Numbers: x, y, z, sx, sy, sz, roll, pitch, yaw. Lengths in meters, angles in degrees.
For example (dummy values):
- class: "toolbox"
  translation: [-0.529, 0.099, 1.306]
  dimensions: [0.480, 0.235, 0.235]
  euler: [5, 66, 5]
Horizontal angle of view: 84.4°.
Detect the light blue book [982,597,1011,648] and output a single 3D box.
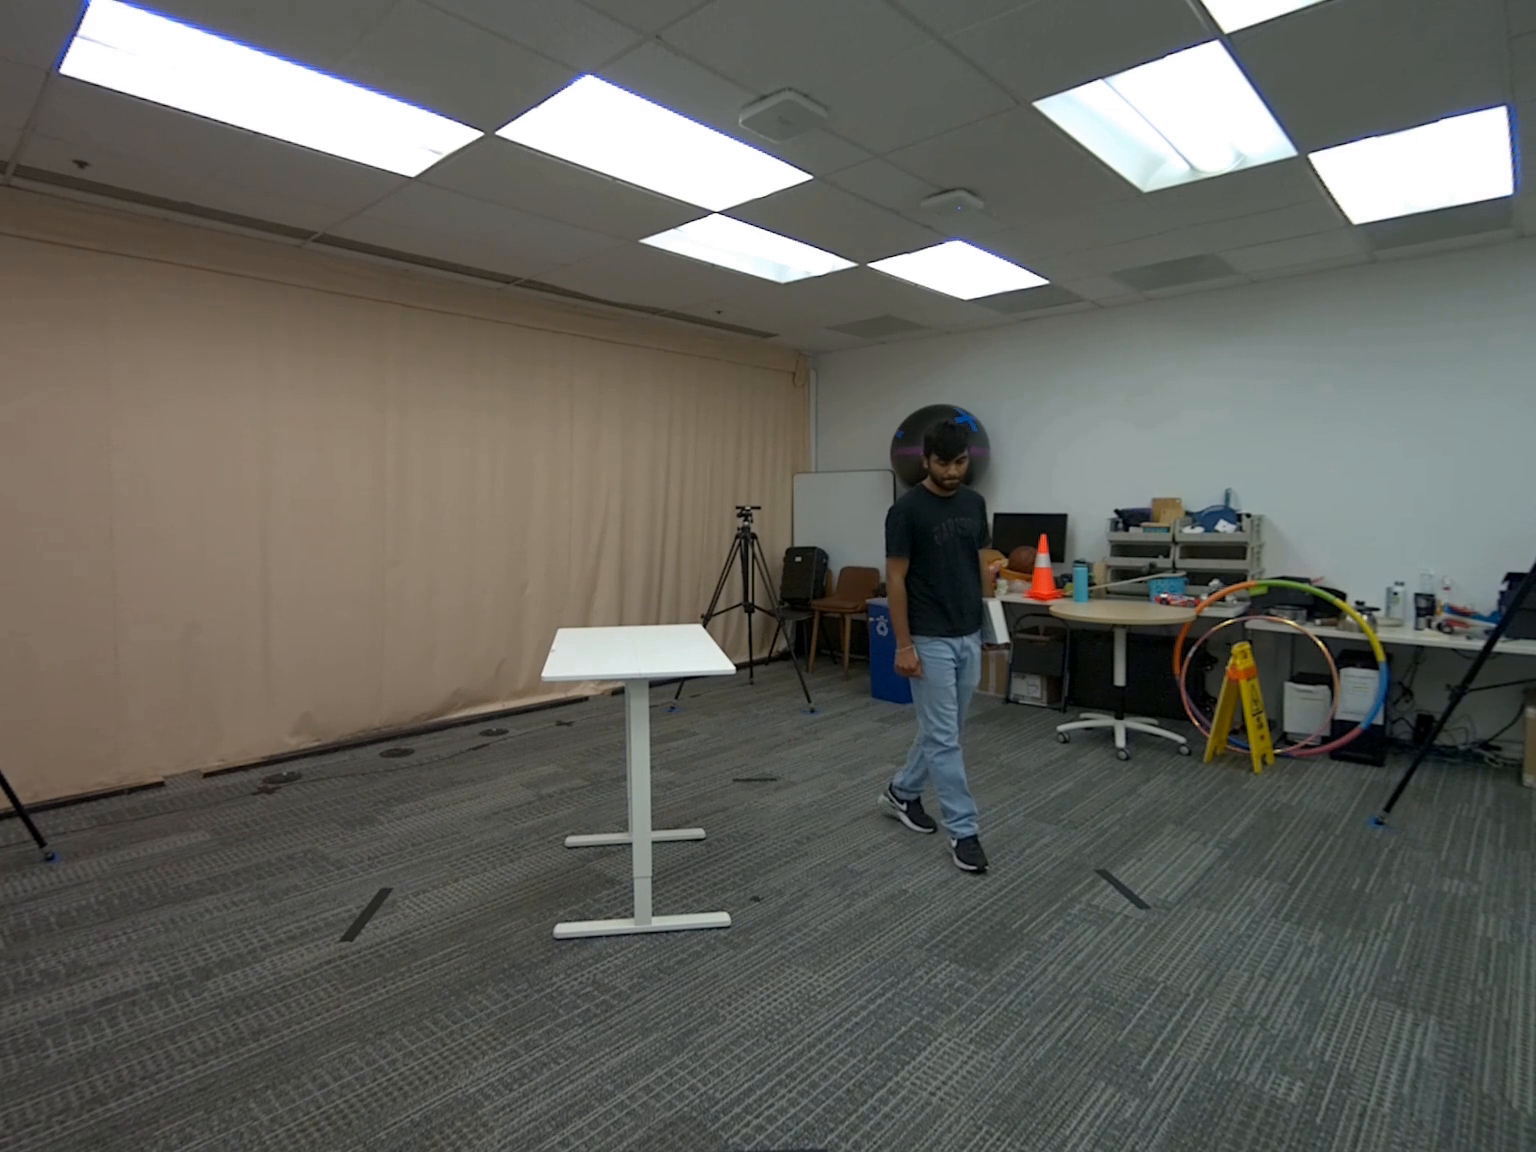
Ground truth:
- class: "light blue book"
  translation: [0.892, 0.185, 3.524]
  dimensions: [0.058, 0.191, 0.264]
  euler: [-13, 1, -16]
